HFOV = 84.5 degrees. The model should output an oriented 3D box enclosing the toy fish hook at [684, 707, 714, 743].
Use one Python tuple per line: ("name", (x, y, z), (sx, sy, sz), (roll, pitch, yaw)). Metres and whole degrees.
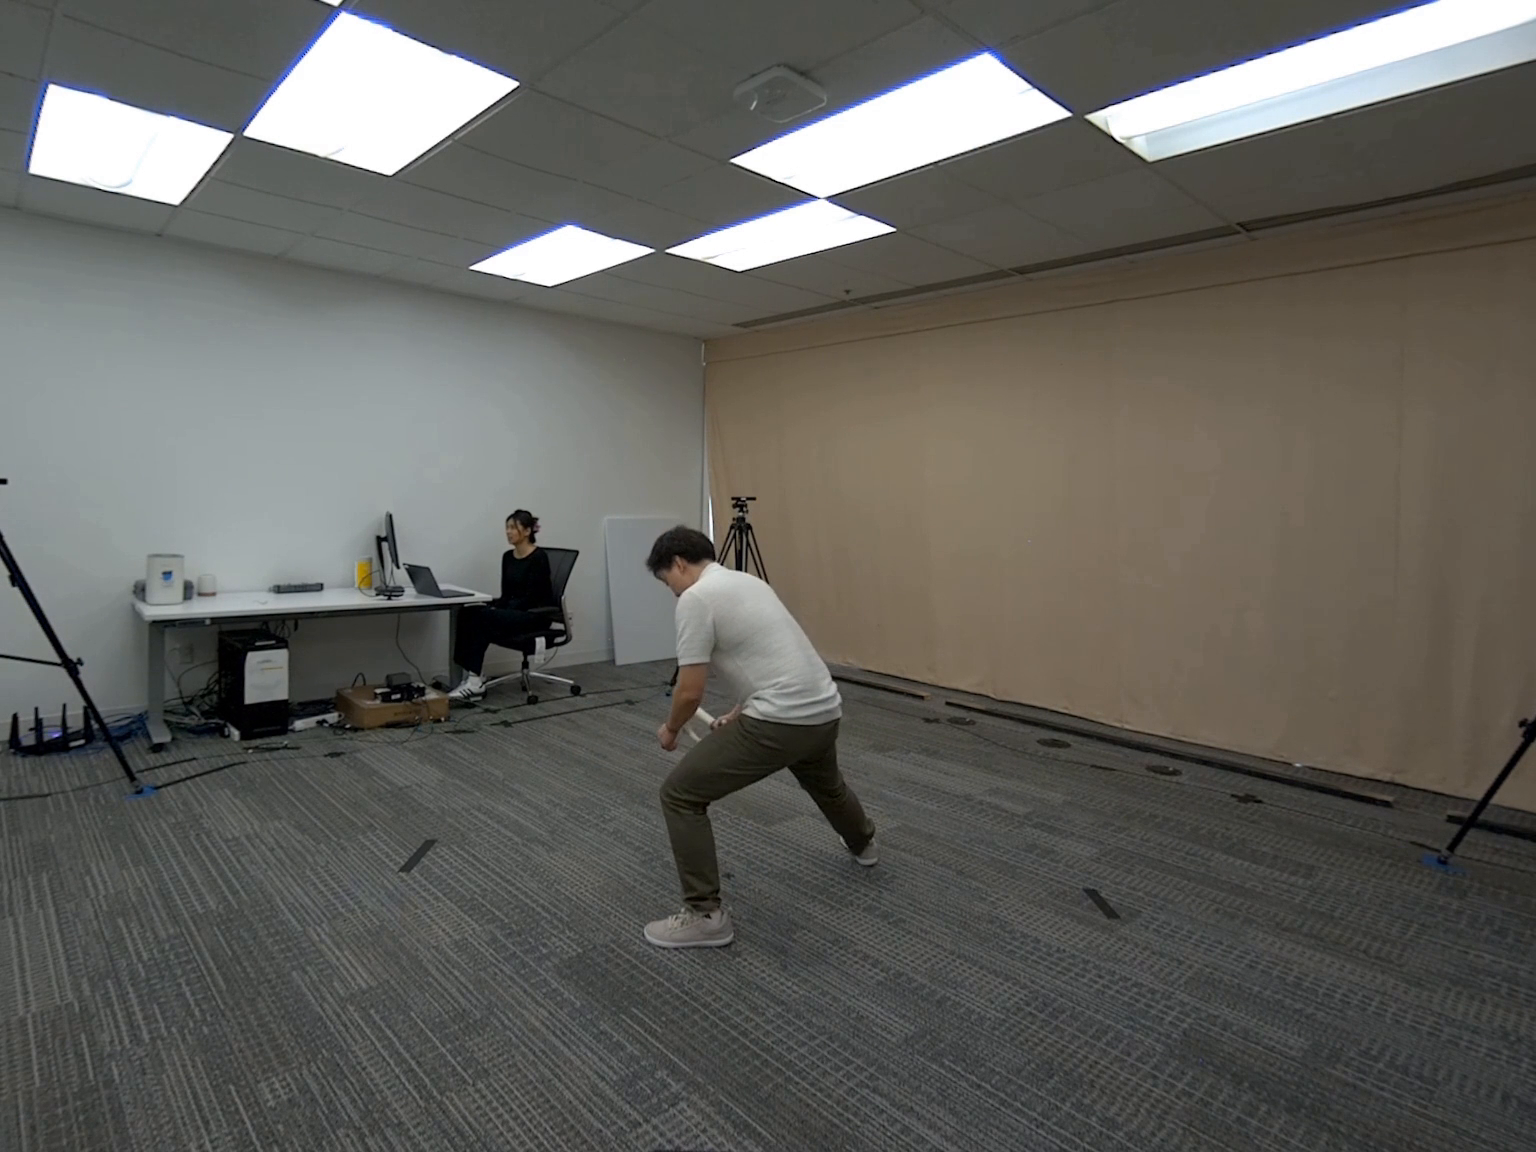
("toy fish hook", (-0.229, 0.616, 3.306), (0.048, 0.221, 0.519), (-30, 22, -26))
